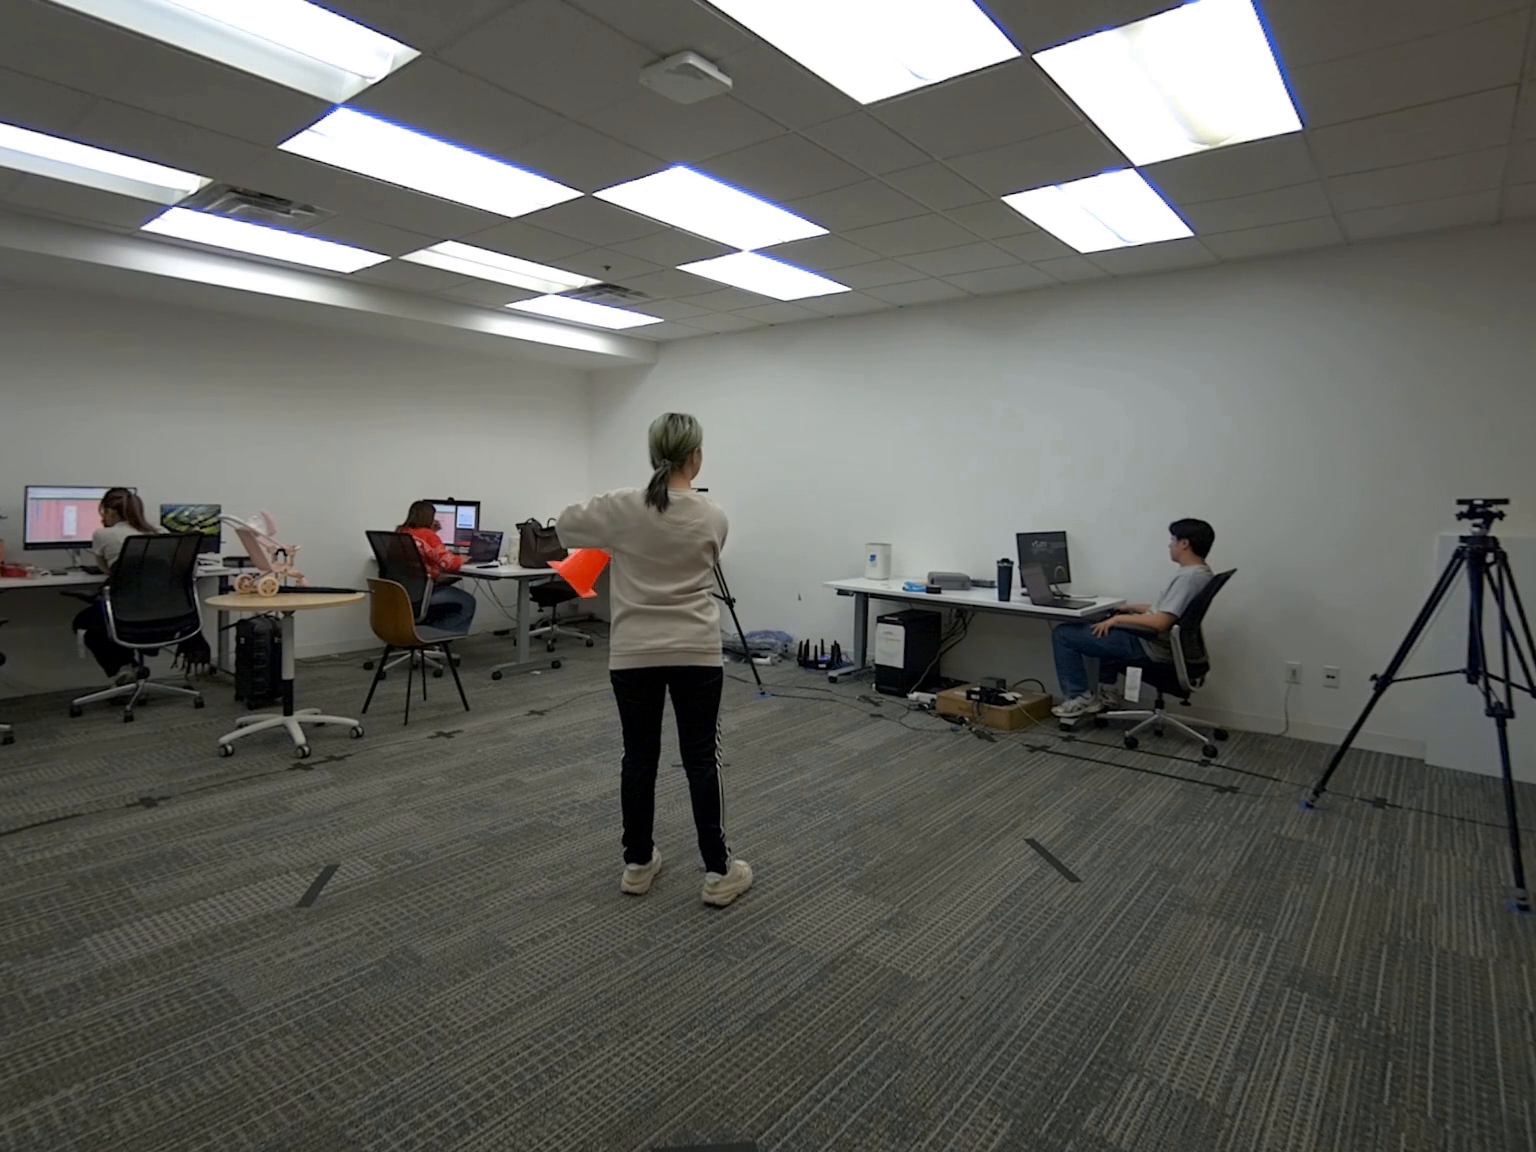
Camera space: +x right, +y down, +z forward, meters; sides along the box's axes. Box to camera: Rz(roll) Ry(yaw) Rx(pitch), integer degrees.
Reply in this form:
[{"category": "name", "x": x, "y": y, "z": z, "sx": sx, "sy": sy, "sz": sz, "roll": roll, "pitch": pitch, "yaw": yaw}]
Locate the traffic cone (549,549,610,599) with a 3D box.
[{"category": "traffic cone", "x": -0.636, "y": -0.121, "z": 3.313, "sx": 0.209, "sy": 0.383, "sz": 0.199, "roll": 43, "pitch": 2, "yaw": 13}]
